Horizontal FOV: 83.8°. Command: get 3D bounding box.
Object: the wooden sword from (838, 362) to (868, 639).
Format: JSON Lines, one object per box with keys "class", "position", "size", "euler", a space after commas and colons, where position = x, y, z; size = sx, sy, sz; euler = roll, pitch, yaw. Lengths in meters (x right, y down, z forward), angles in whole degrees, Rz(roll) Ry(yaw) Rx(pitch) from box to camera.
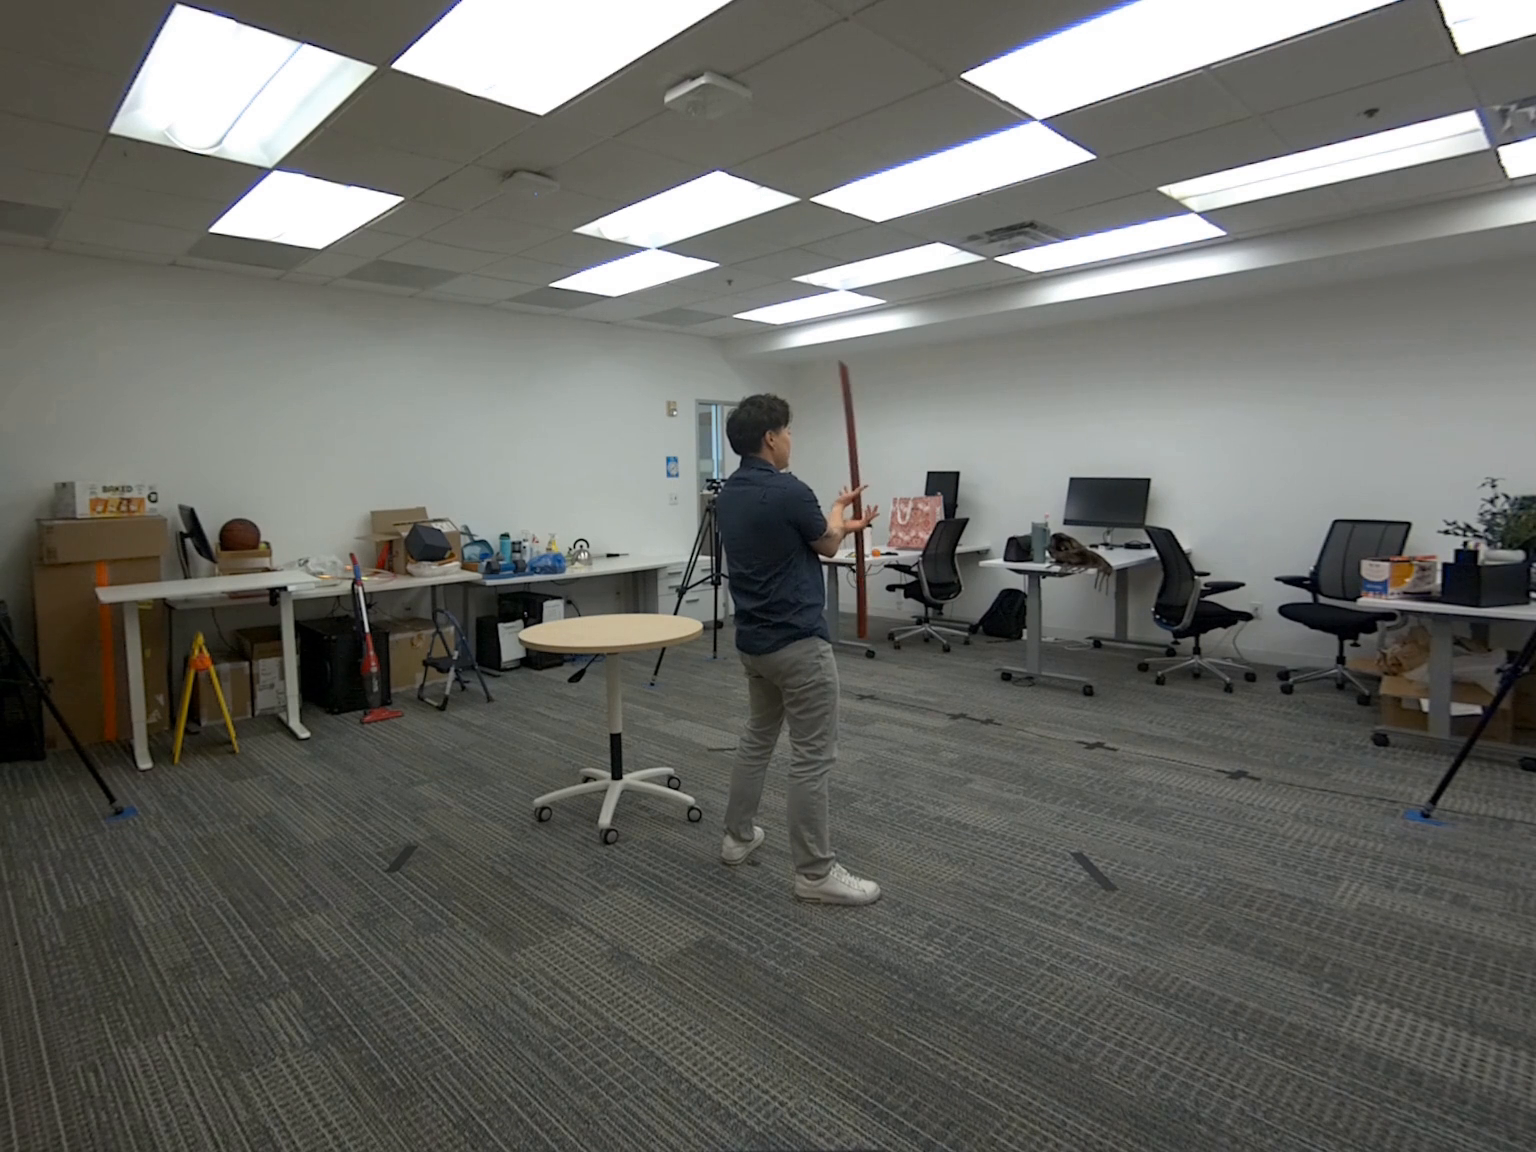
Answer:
{"class": "wooden sword", "position": [0.328, -0.275, 3.168], "size": [0.050, 1.025, 0.024], "euler": [-6, 0, -27]}
